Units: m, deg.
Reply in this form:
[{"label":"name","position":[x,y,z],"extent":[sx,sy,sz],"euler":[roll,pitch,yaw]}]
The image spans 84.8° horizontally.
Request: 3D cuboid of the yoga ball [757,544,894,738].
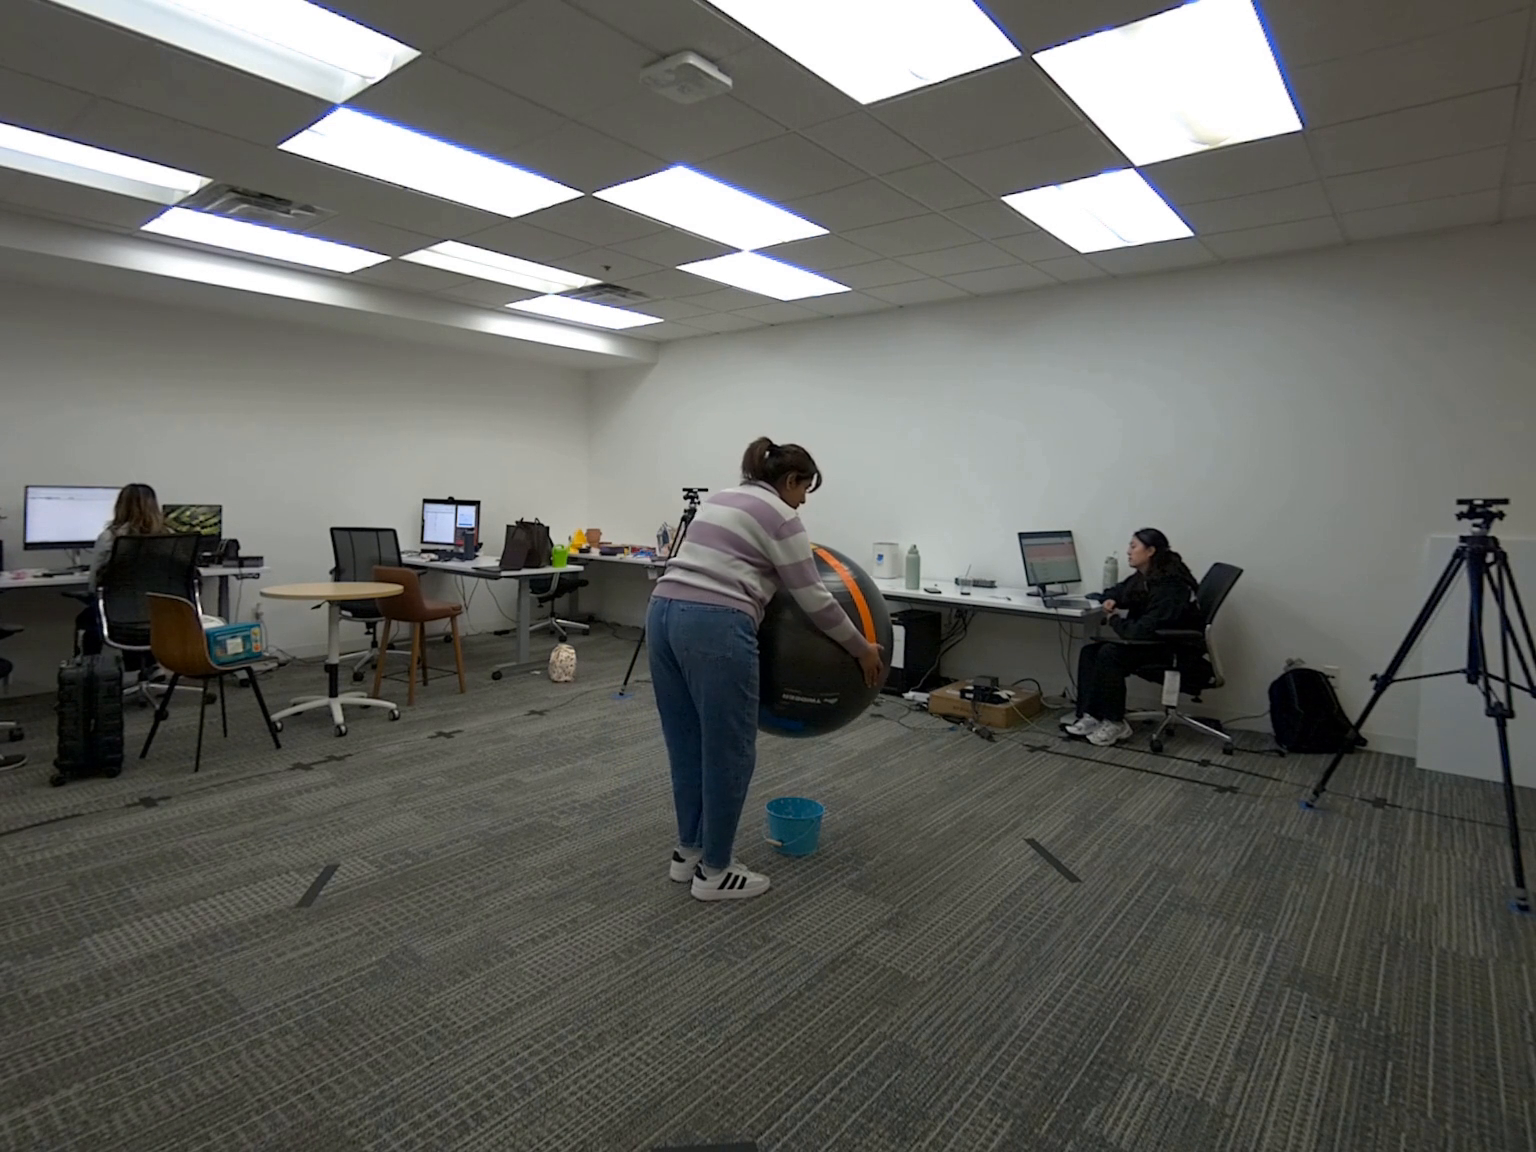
[{"label":"yoga ball","position":[0.101,0.244,3.338],"extent":[0.757,0.756,0.762],"euler":[1,4,-2]}]
